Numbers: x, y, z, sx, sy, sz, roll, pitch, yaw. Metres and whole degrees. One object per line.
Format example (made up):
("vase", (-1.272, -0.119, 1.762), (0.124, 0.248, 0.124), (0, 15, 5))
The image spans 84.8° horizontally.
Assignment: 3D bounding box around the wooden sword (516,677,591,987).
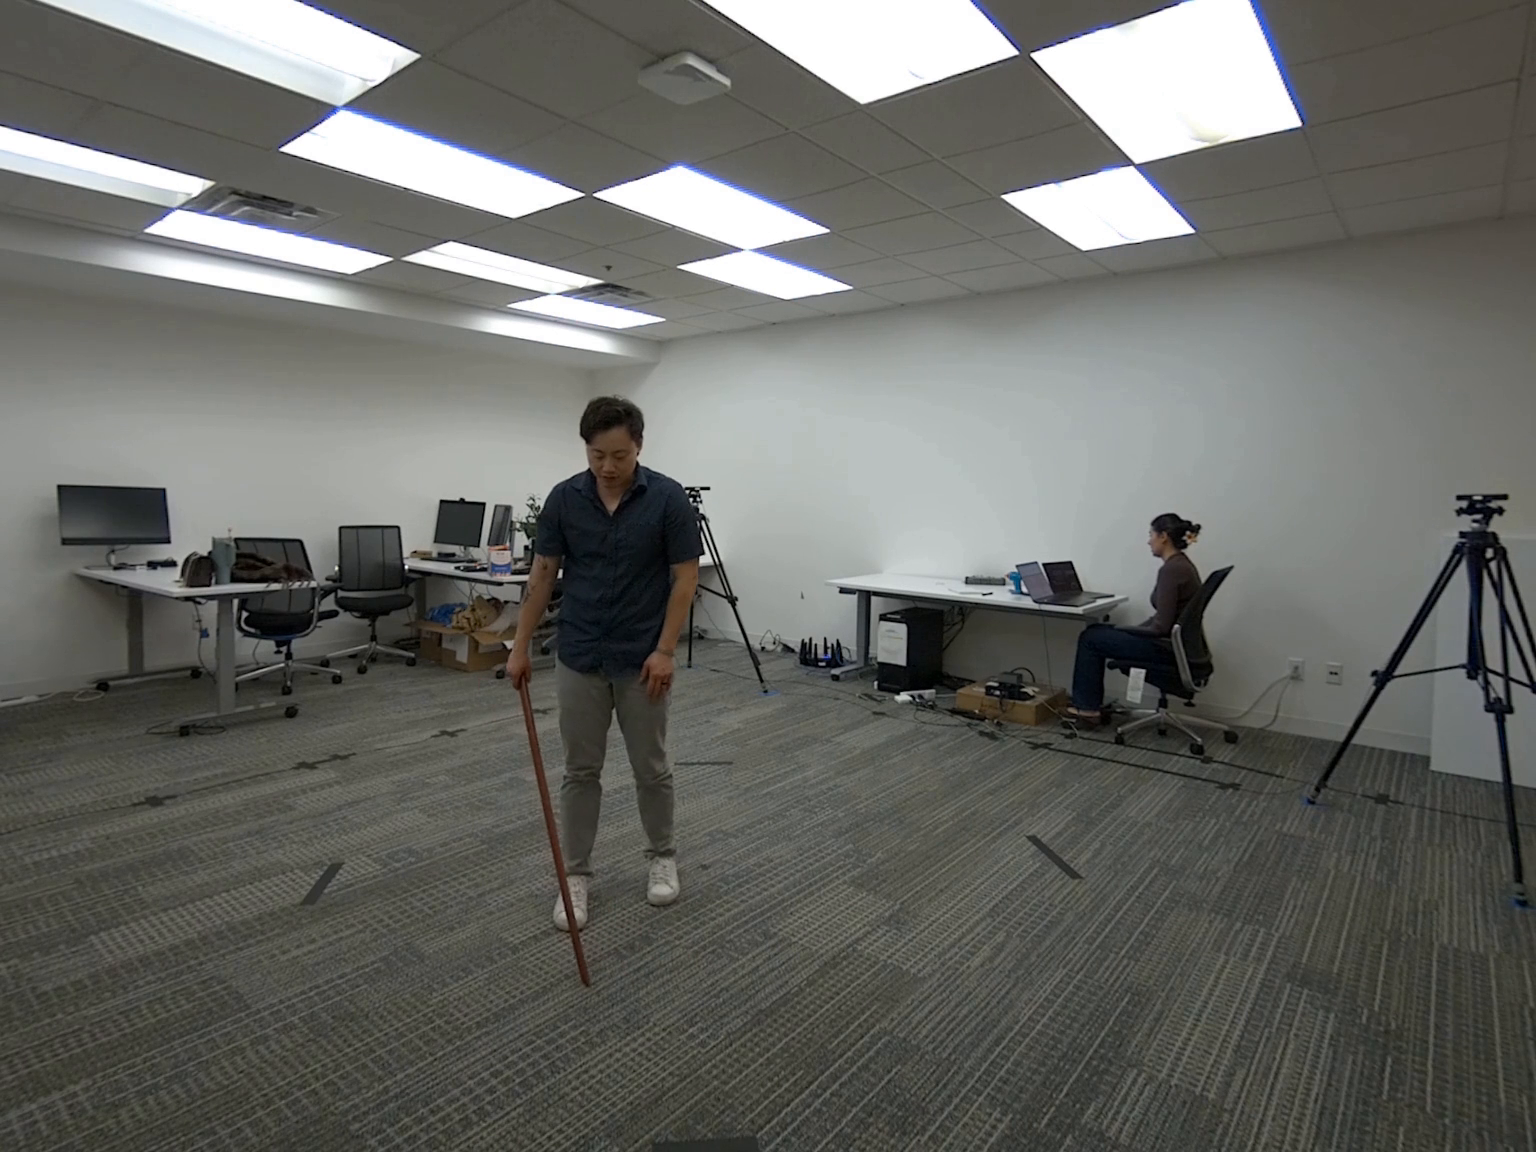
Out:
("wooden sword", (-0.679, 0.709, 2.604), (0.049, 1.057, 0.024), (9, -41, -48))
